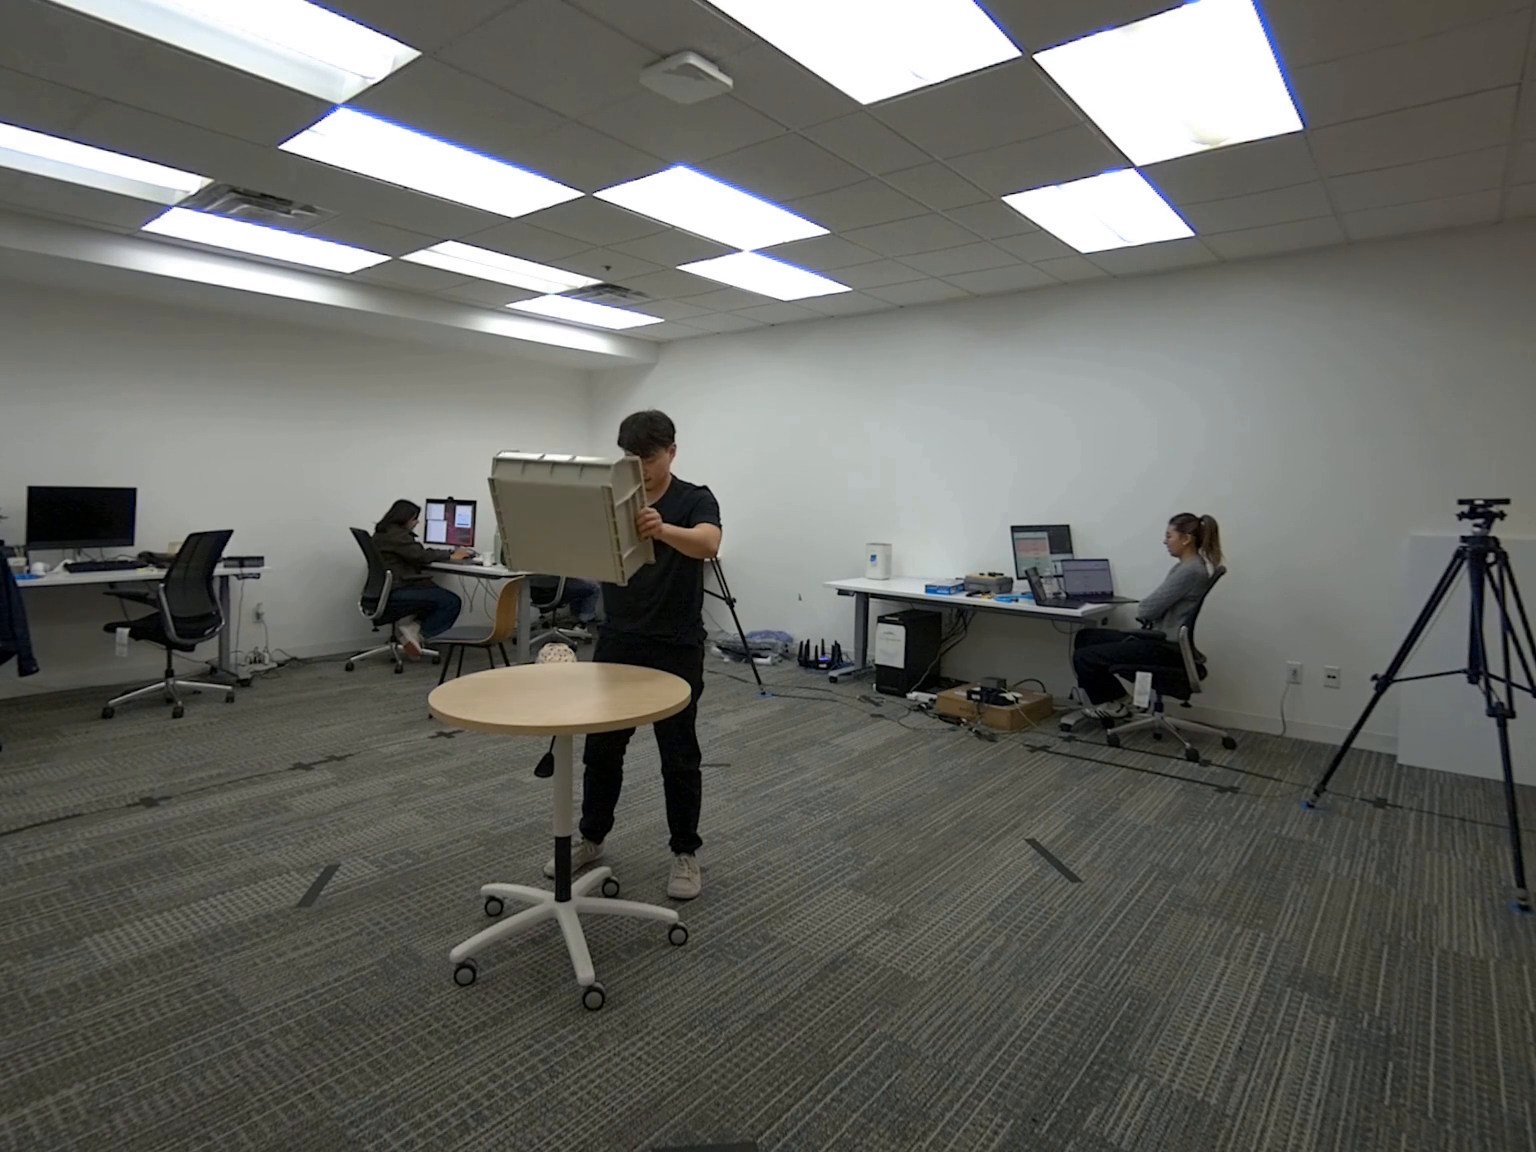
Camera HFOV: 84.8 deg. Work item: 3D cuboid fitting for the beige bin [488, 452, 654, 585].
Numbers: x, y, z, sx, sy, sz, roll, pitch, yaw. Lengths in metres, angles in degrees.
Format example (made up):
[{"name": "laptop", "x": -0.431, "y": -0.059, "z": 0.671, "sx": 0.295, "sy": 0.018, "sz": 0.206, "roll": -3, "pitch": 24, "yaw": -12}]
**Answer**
[{"name": "beige bin", "x": -0.596, "y": -0.176, "z": 2.533, "sx": 0.432, "sy": 0.368, "sz": 0.189, "roll": 6, "pitch": 28, "yaw": 20}]
